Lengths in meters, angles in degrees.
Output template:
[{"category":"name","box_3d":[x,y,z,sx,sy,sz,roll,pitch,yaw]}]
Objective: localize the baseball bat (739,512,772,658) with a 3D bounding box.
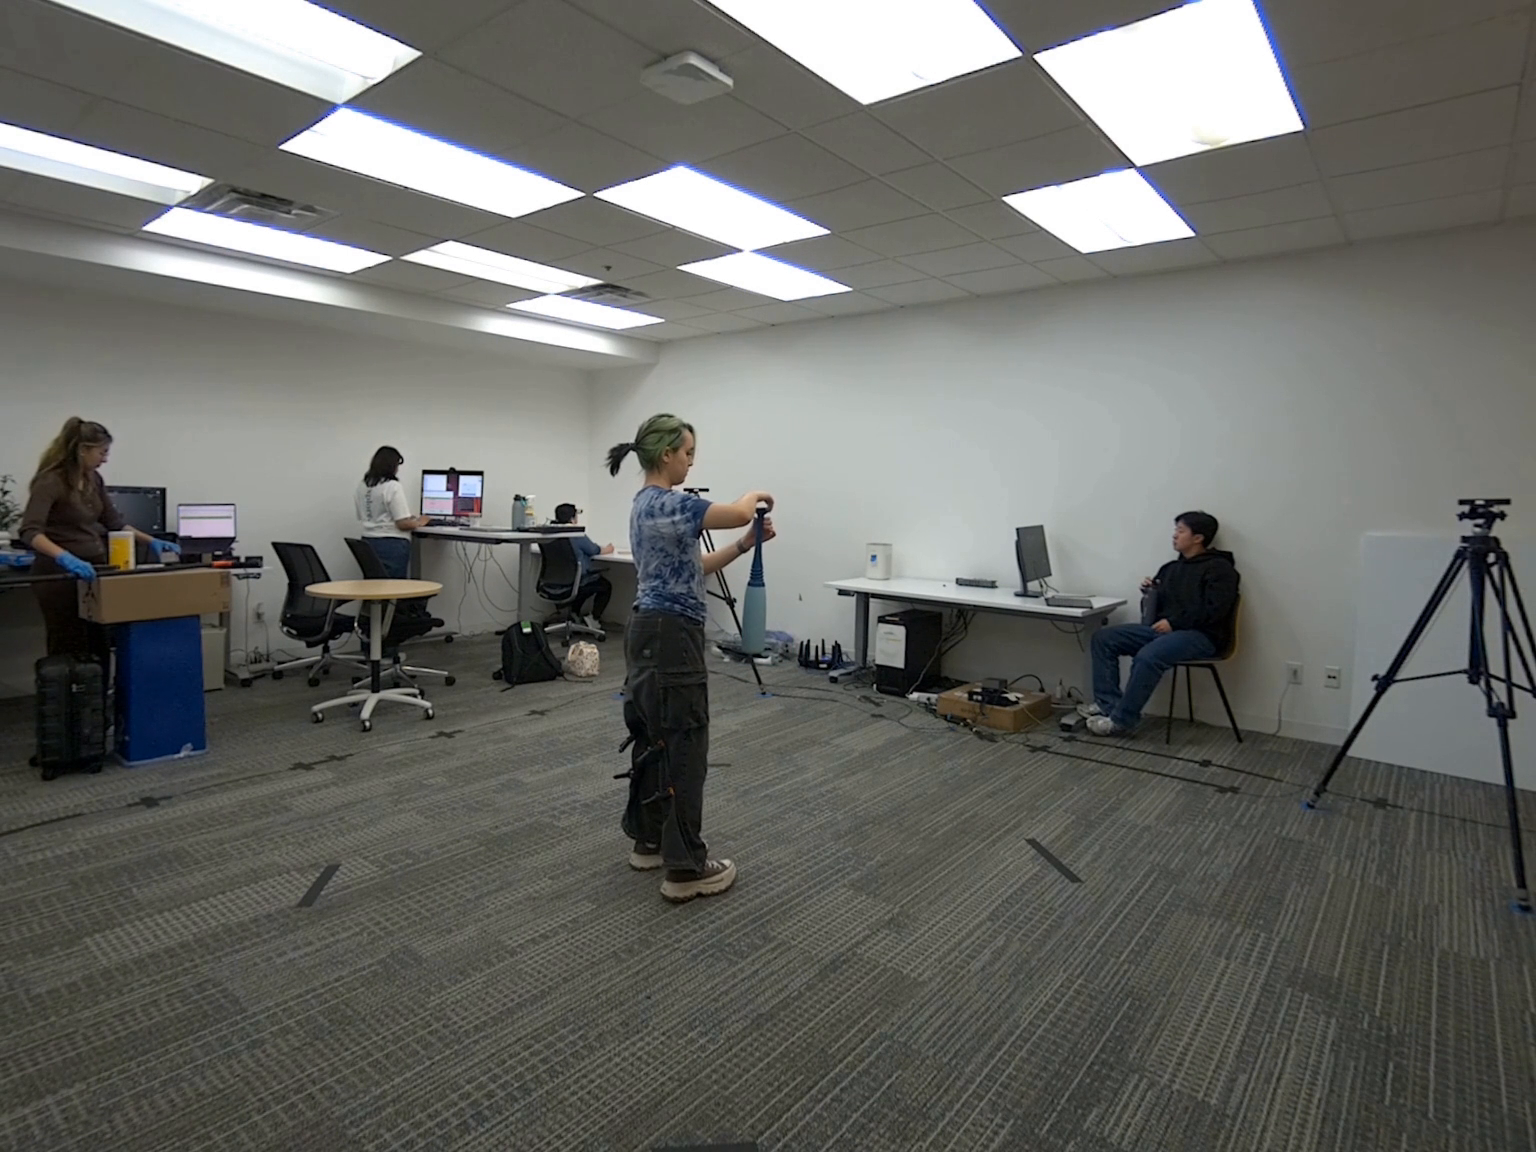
[{"category":"baseball bat","box_3d":[-0.049,0.019,3.124,0.089,0.544,0.089,3,-2,-2]}]
